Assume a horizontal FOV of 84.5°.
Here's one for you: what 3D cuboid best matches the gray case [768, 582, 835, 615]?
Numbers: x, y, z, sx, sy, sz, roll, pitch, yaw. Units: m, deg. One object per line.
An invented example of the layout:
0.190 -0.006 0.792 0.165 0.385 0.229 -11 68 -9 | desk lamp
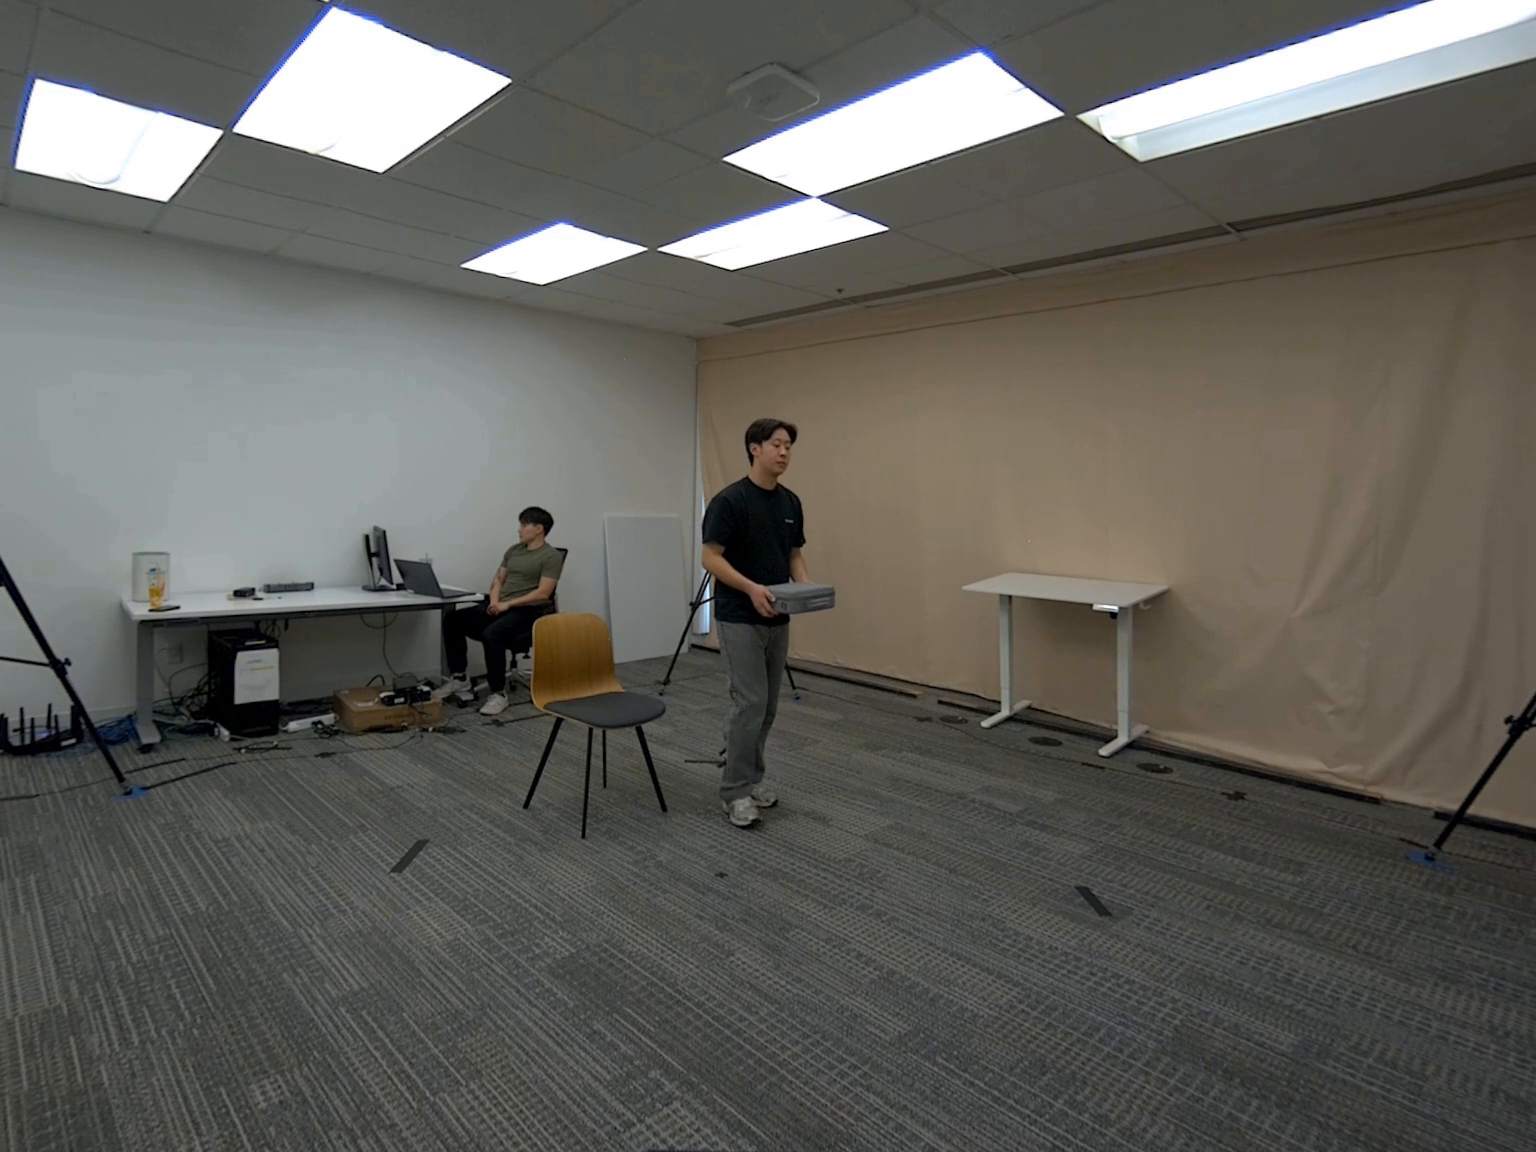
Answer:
0.123 0.095 3.549 0.258 0.102 0.294 -6 8 -33 | gray case
